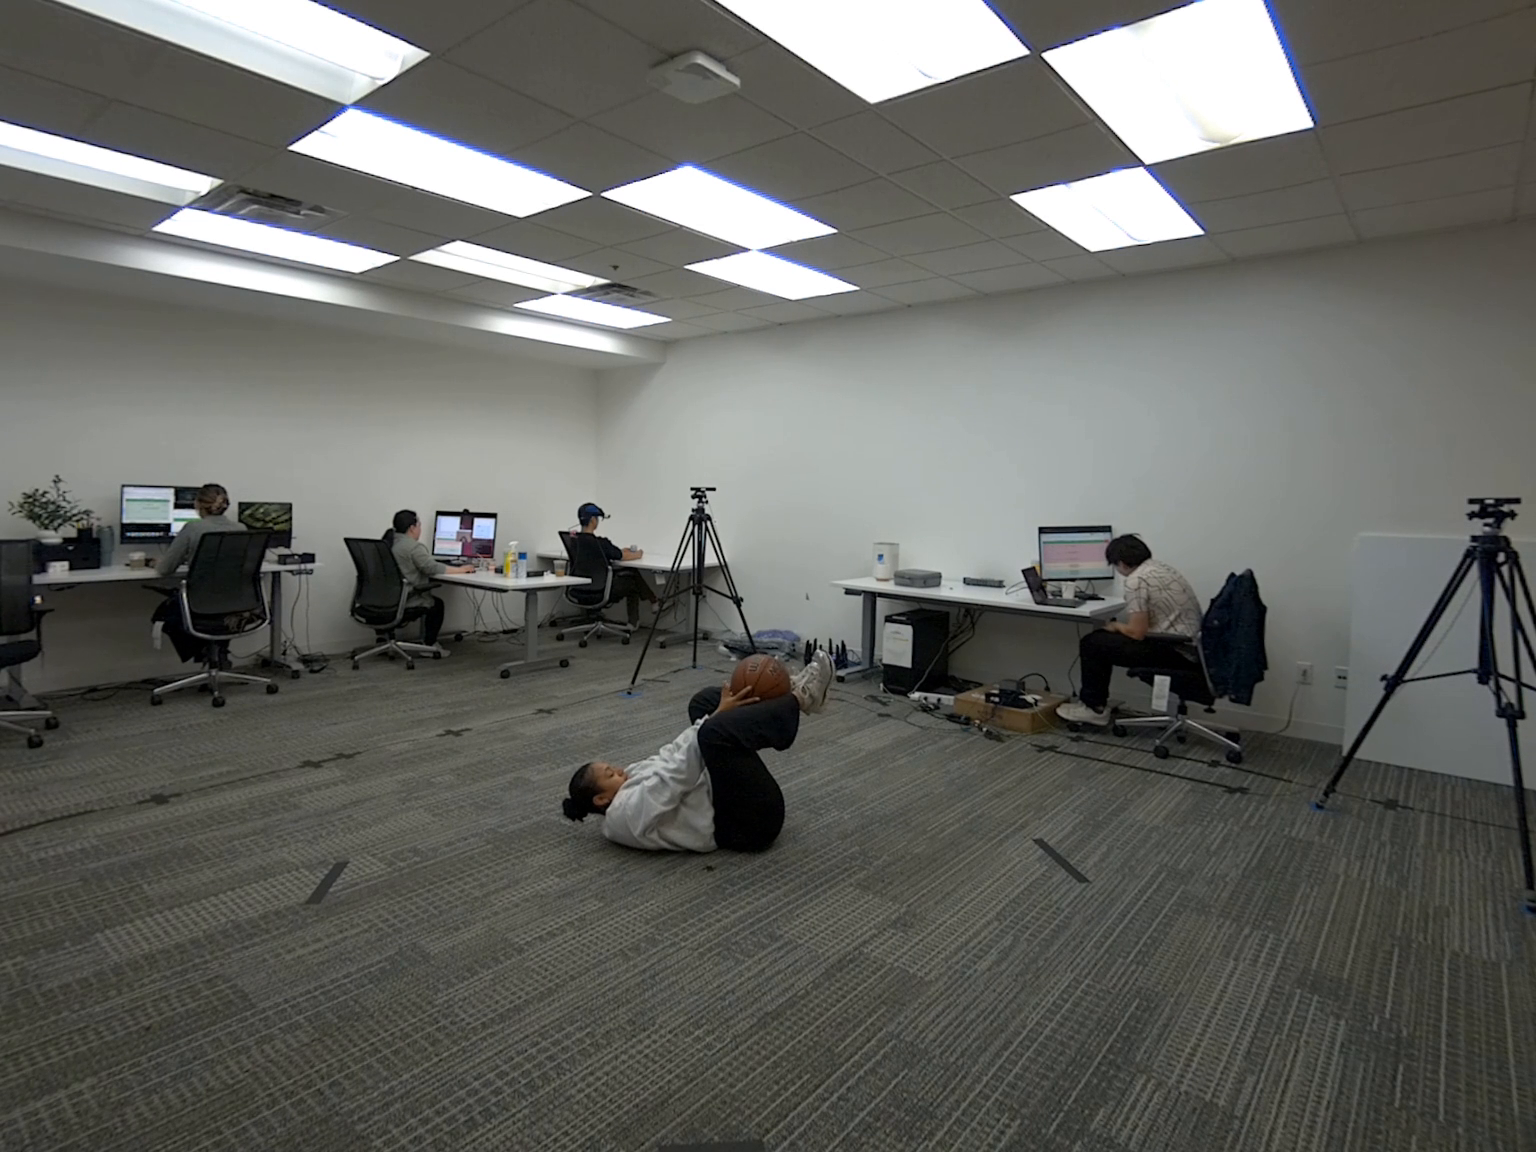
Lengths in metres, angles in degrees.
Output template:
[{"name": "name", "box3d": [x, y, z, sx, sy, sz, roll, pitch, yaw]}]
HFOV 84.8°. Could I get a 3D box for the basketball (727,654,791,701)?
[{"name": "basketball", "box3d": [-0.029, 0.433, 3.400, 0.235, 0.235, 0.237, 1, 4, -2]}]
